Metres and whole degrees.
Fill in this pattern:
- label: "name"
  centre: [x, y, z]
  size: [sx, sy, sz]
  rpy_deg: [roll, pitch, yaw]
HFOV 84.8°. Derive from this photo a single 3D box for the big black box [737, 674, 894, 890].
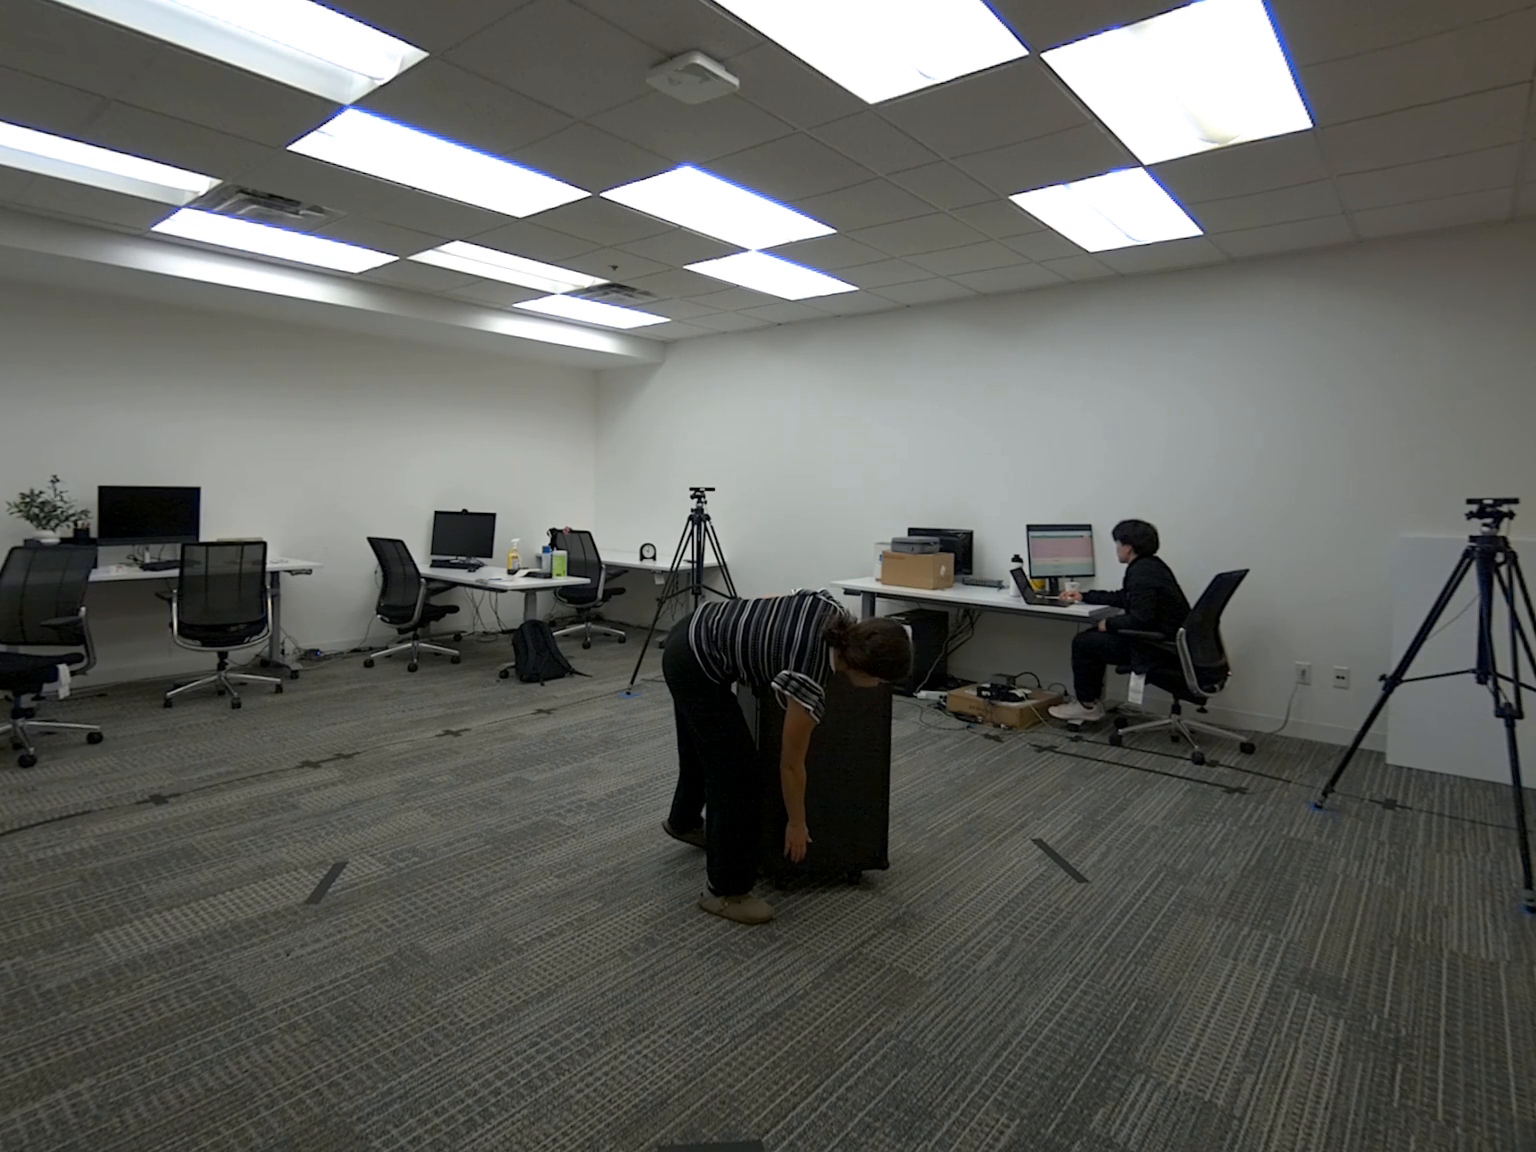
- label: "big black box"
  centre: [0.147, 0.647, 3.097]
  size: [0.515, 0.859, 0.402]
  rpy_deg: [0, 3, -11]
